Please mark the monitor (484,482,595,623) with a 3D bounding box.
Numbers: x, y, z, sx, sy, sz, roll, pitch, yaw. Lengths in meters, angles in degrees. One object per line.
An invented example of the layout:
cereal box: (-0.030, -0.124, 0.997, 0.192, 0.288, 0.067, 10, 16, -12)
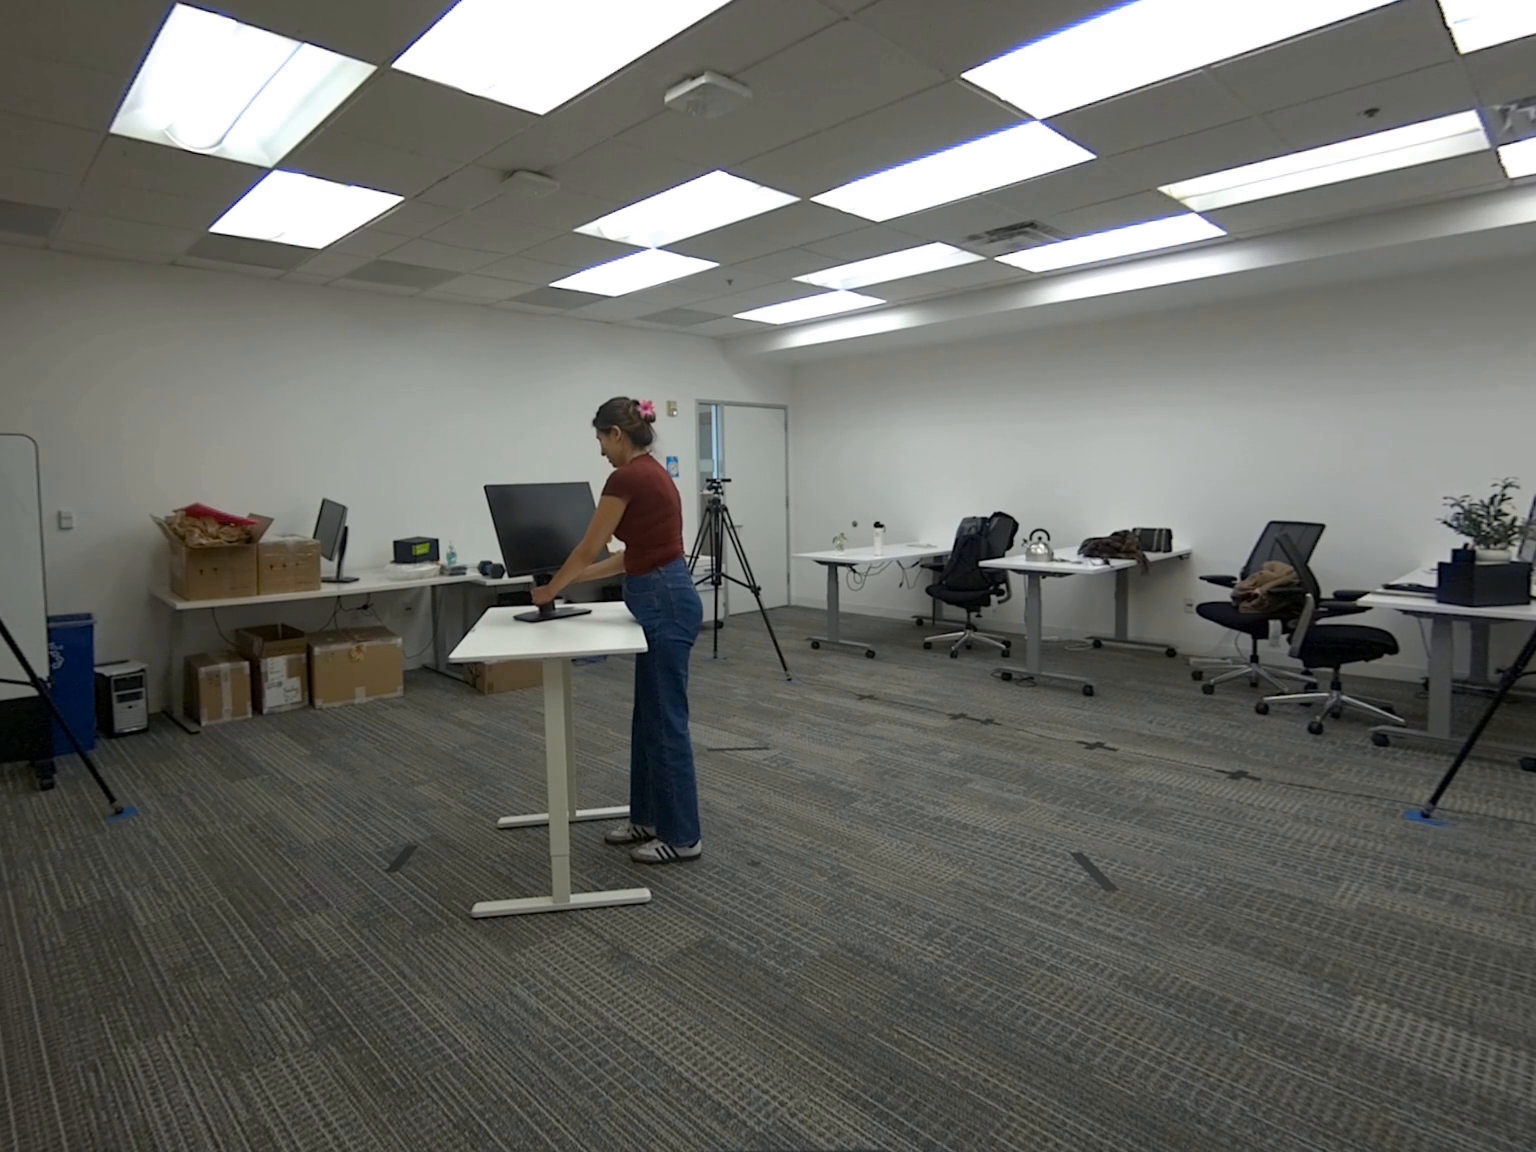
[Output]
monitor: (-0.855, -0.101, 3.314, 0.192, 0.521, 0.527, -3, 4, 31)
